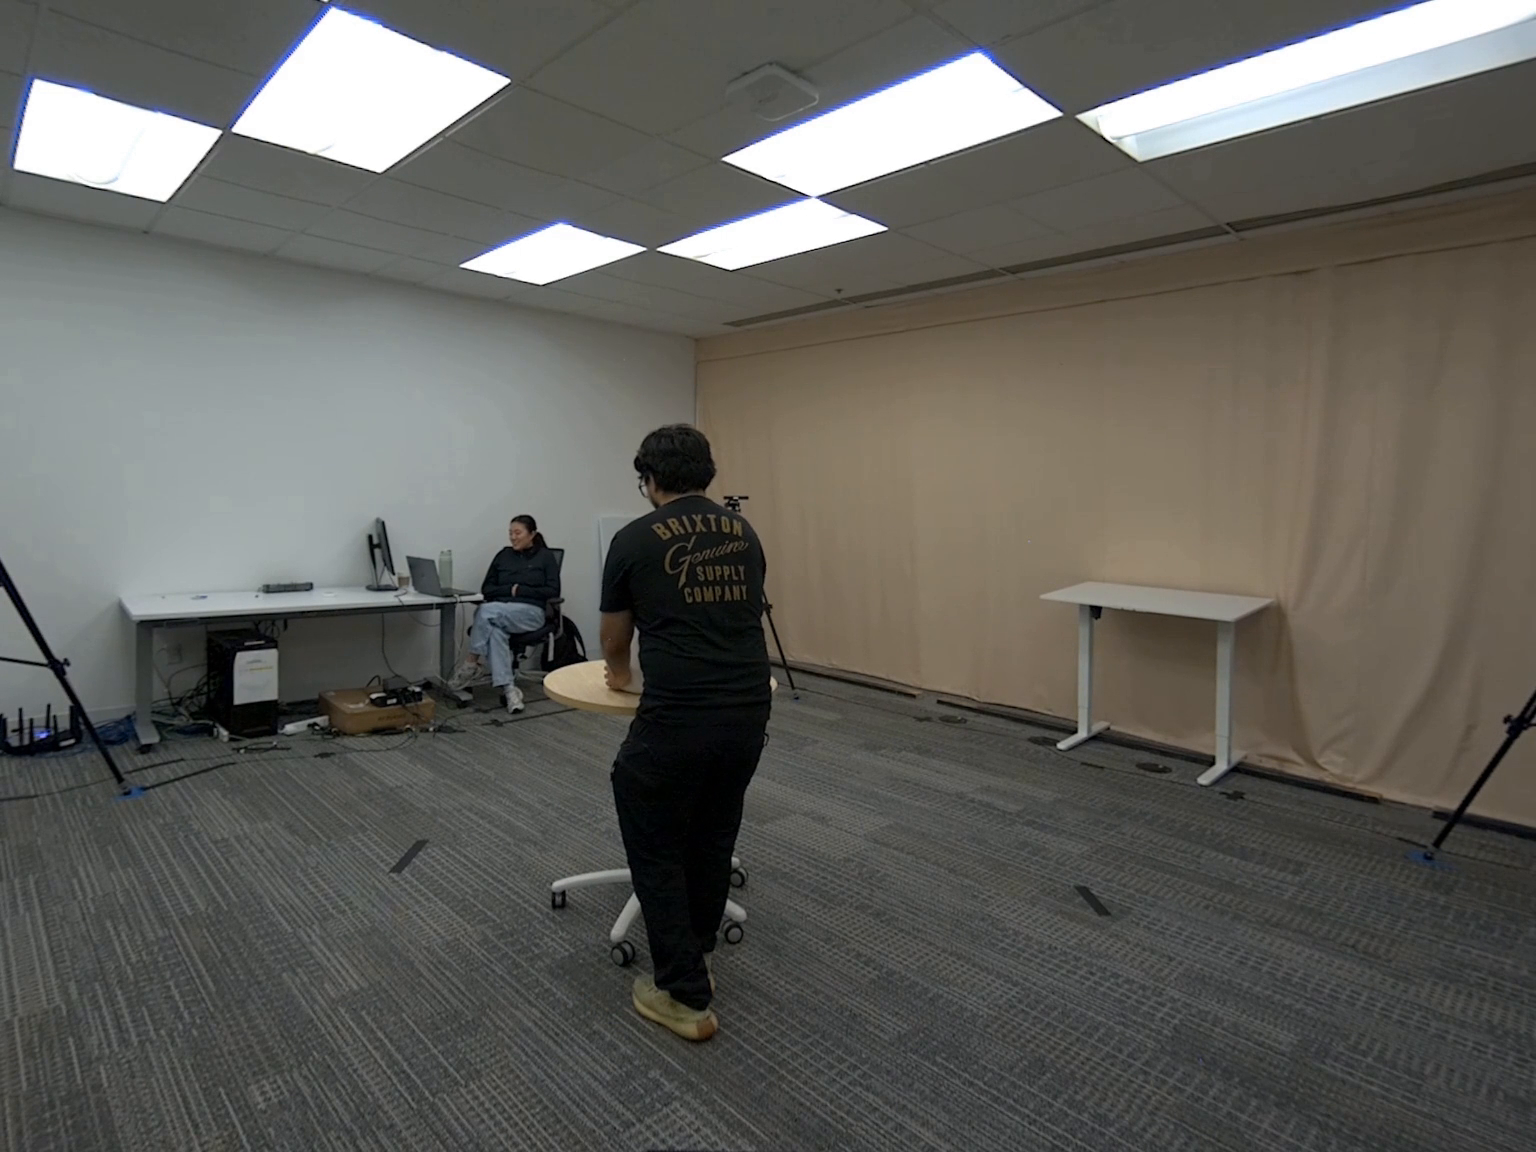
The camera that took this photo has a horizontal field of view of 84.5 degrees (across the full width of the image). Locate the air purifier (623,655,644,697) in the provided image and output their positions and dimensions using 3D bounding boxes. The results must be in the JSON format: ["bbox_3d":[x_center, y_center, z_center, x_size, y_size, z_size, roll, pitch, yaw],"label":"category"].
[{"bbox_3d":[-0.402,0.226,2.636,0.176,0.264,0.167,4,5,41],"label":"air purifier"}]
